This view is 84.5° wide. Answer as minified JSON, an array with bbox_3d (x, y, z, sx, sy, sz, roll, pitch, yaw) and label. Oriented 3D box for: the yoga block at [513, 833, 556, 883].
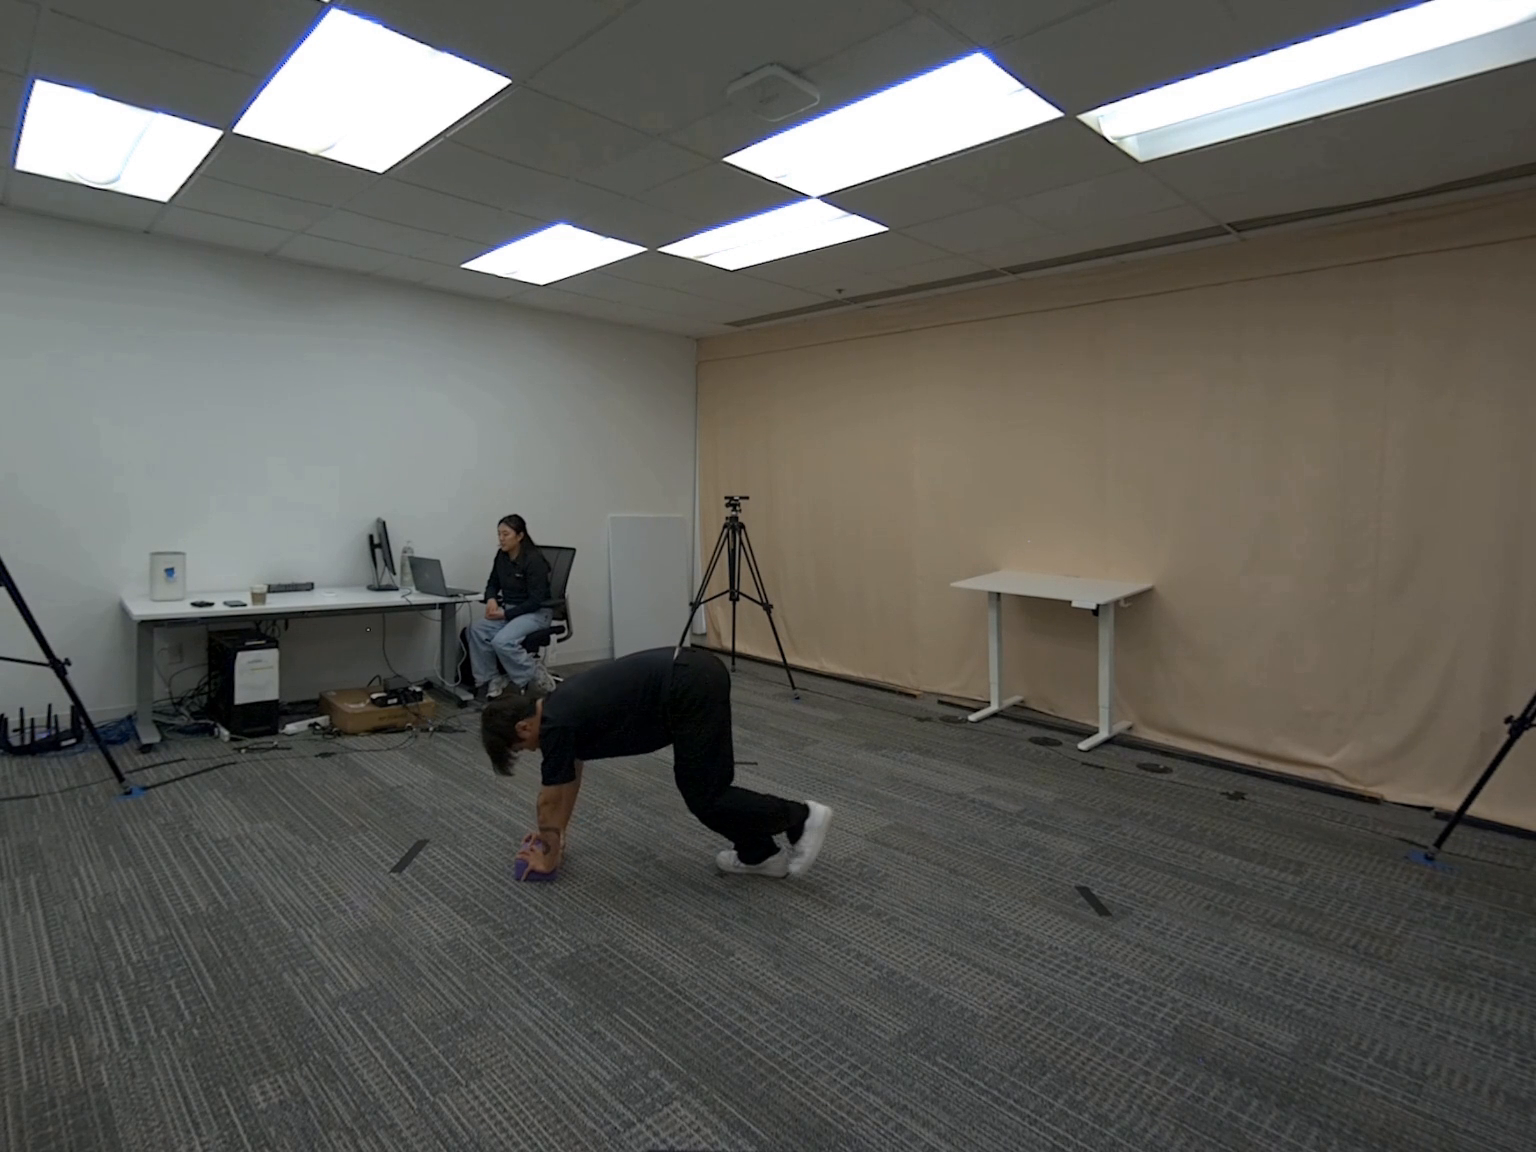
[{"bbox_3d":[-0.850,1.041,3.144,0.148,0.076,0.231,0,7,-6],"label":"yoga block"}]
